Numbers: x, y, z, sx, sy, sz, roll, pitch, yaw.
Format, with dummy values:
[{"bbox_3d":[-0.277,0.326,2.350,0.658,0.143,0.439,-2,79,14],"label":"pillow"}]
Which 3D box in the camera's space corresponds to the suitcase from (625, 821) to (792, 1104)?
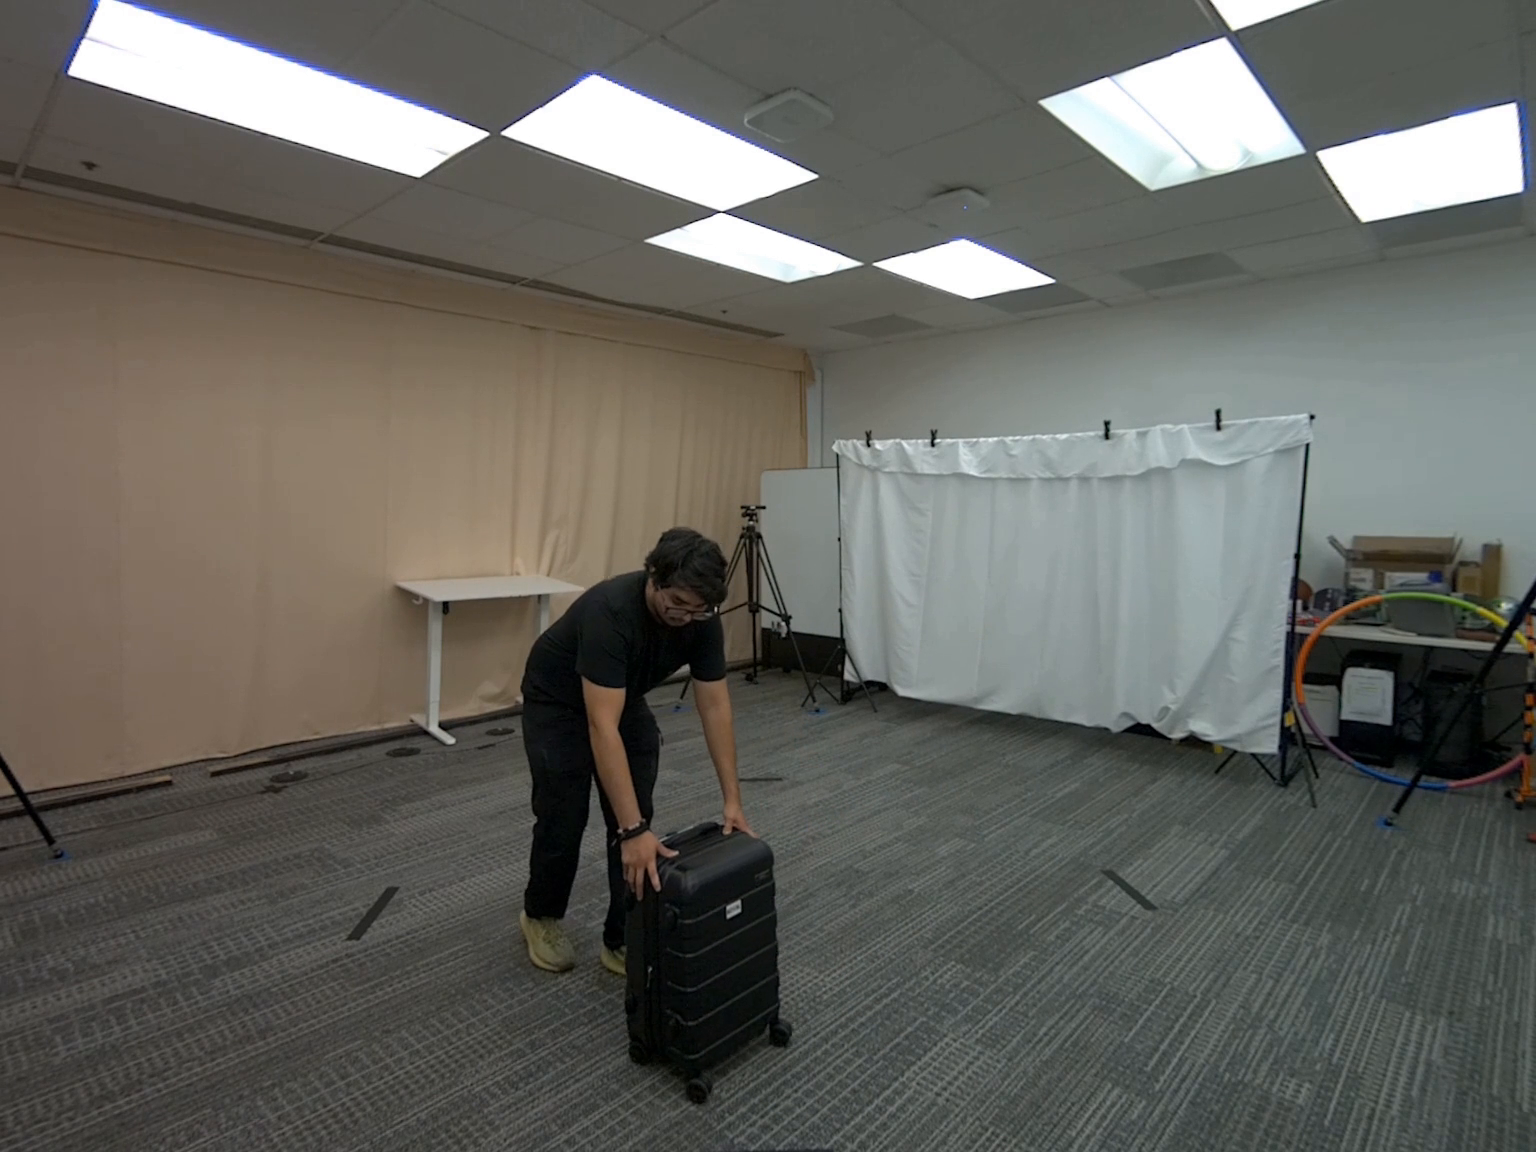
[{"bbox_3d":[-0.161,0.939,2.148,0.256,0.548,0.364,0,3,44],"label":"suitcase"}]
